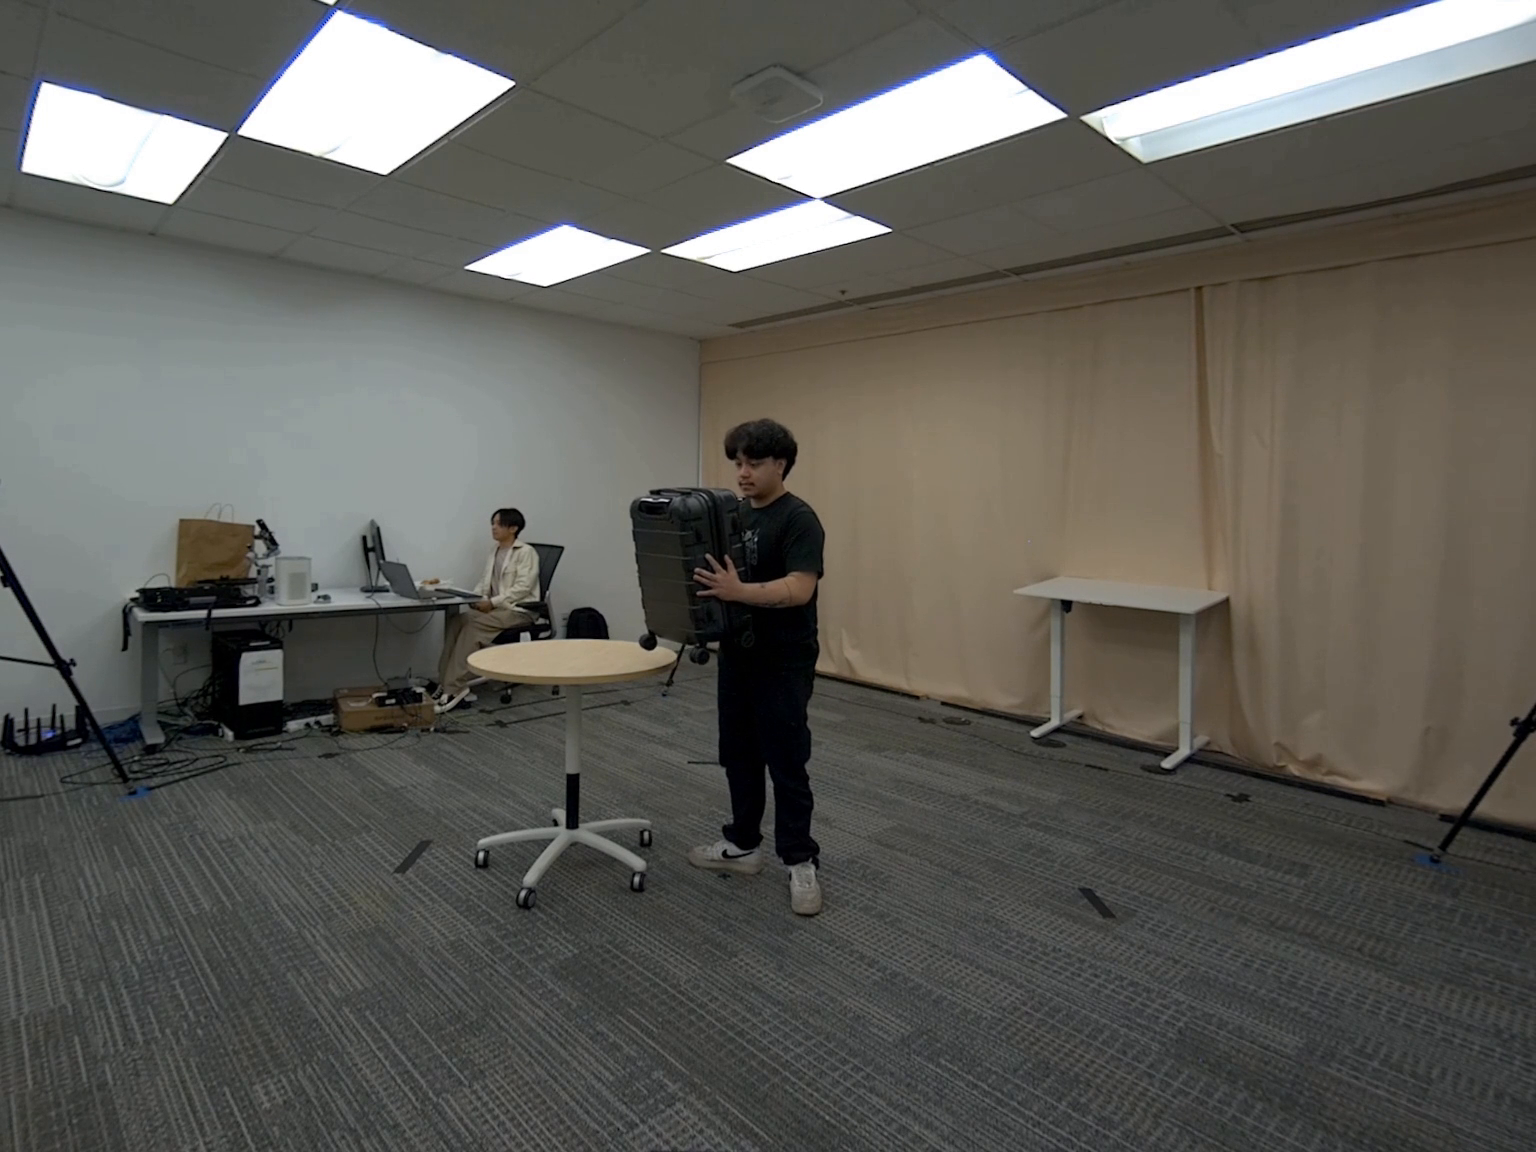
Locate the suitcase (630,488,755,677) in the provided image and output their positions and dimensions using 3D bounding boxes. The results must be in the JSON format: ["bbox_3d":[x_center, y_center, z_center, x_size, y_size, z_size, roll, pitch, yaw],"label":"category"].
[{"bbox_3d":[-0.263,-0.021,2.835,0.244,0.545,0.385,-14,13,-39],"label":"suitcase"}]
